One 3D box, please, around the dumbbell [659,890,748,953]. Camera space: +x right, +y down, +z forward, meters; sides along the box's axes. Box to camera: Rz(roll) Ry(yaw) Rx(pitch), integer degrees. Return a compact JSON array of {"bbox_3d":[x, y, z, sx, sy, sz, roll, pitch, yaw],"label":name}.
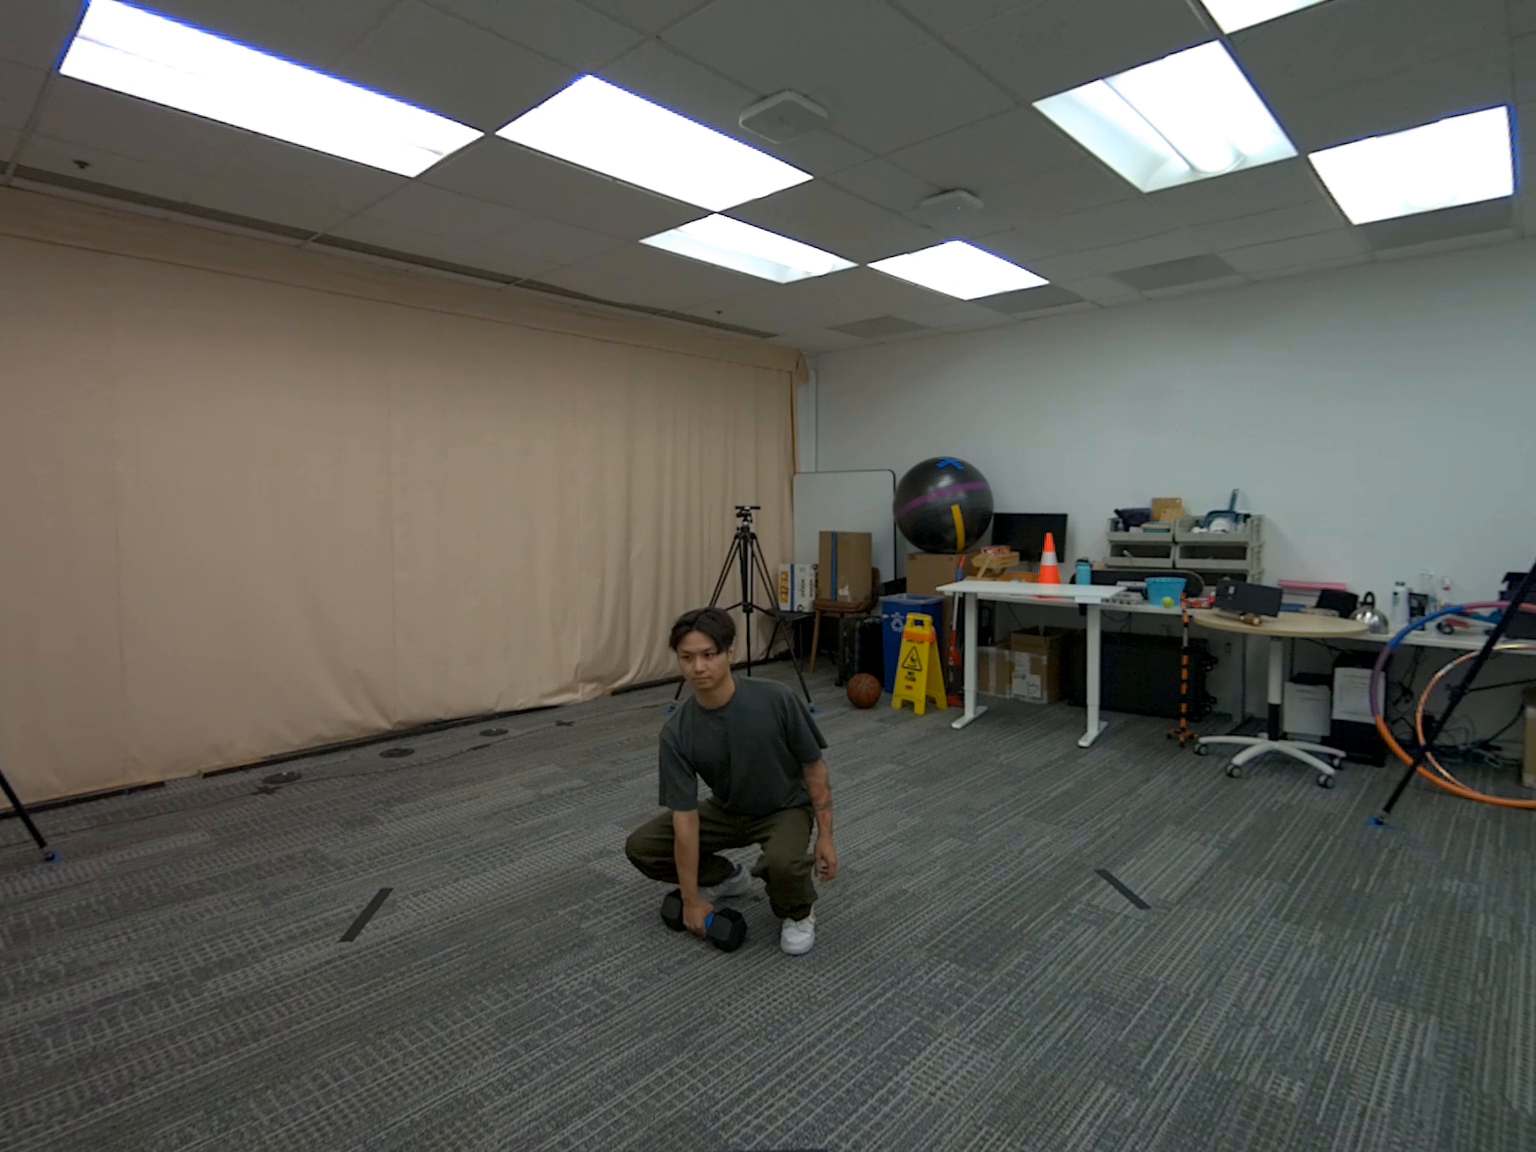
[{"bbox_3d":[-0.216,1.114,2.725,0.303,0.120,0.108,3,35,41],"label":"dumbbell"}]
